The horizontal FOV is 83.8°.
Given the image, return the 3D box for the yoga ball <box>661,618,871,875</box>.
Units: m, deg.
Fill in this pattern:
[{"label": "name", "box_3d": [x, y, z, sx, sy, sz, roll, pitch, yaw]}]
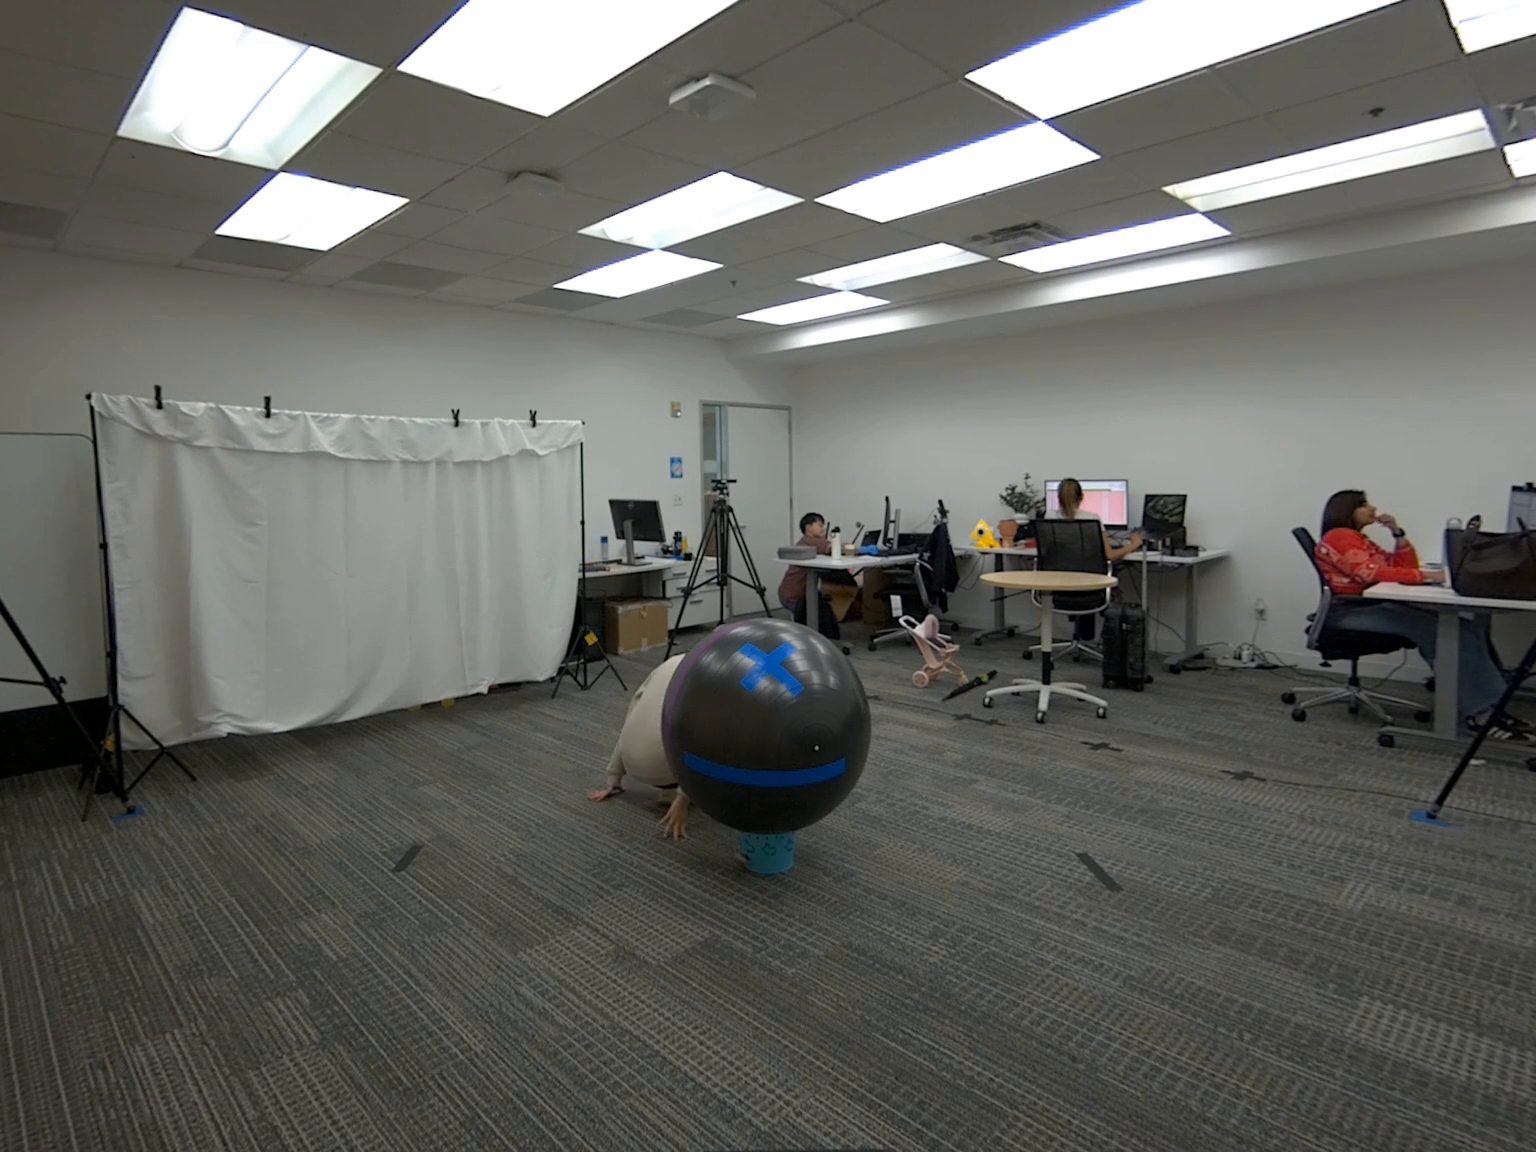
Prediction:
[{"label": "yoga ball", "box_3d": [-0.008, 0.534, 3.089, 0.757, 0.755, 0.762, -1, 5, -2]}]
